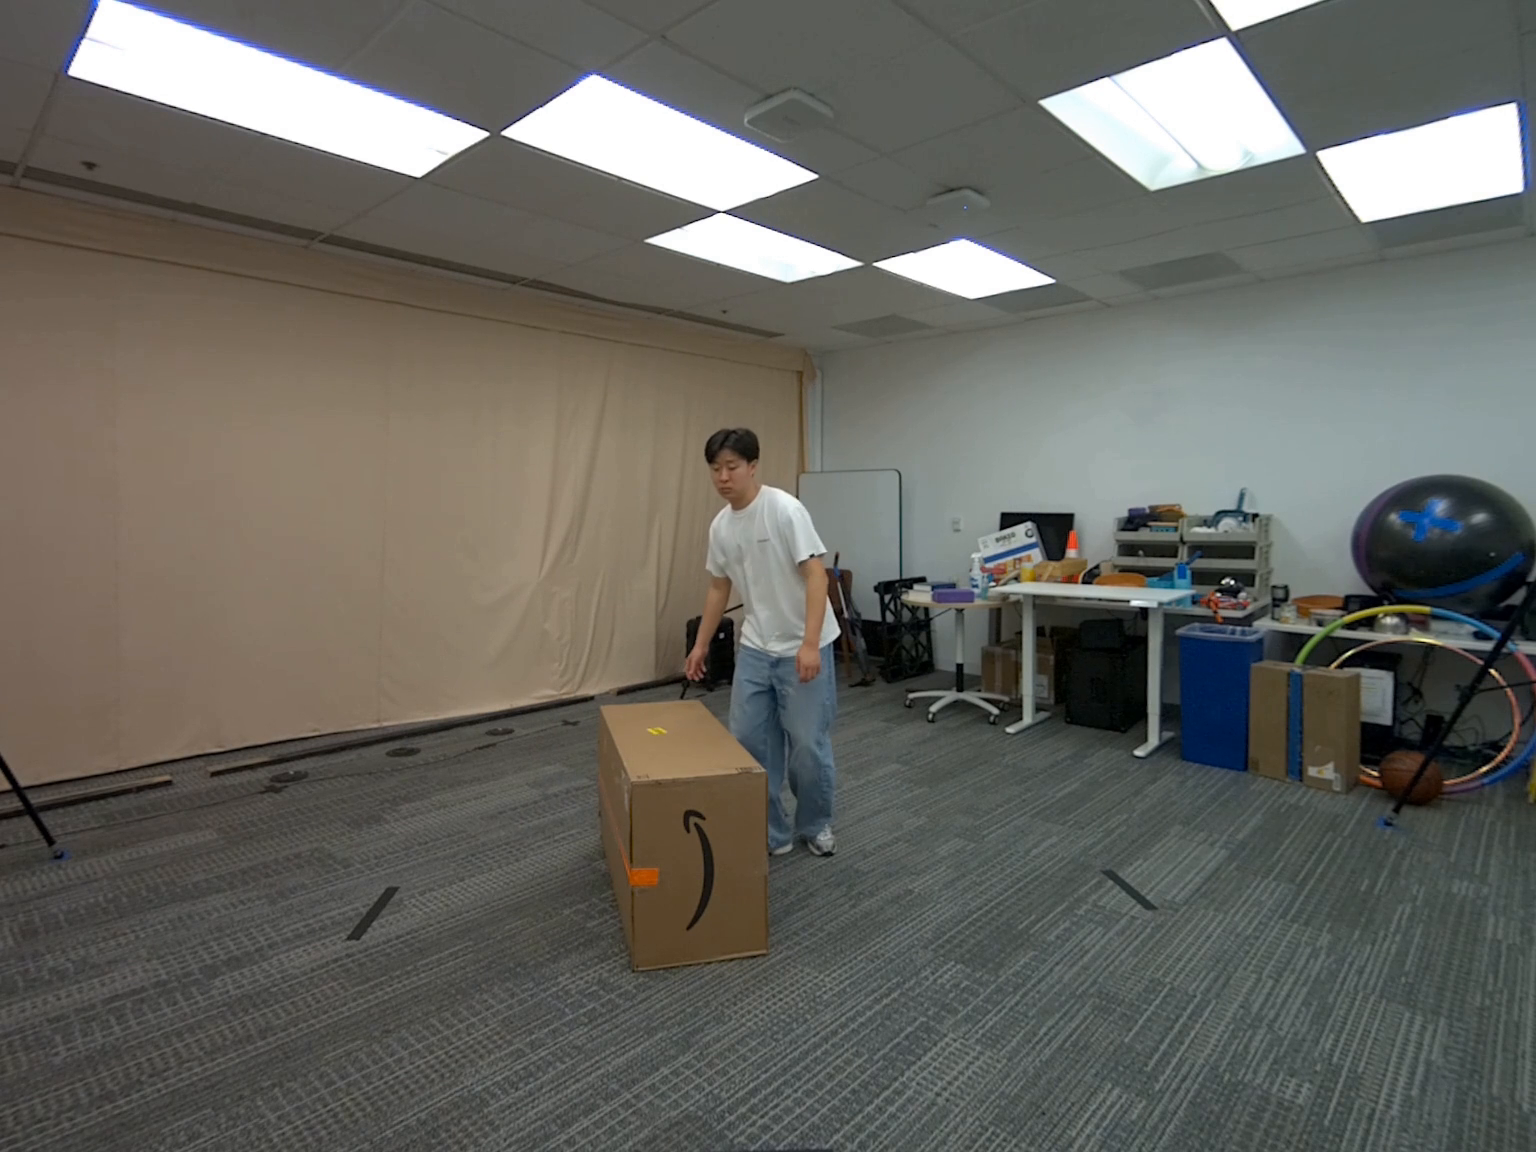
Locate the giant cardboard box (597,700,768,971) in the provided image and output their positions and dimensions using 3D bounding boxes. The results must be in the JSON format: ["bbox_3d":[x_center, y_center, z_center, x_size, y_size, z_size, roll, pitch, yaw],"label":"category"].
[{"bbox_3d":[-0.350,0.849,3.038,0.420,0.576,1.043,-1,4,-16],"label":"giant cardboard box"}]
